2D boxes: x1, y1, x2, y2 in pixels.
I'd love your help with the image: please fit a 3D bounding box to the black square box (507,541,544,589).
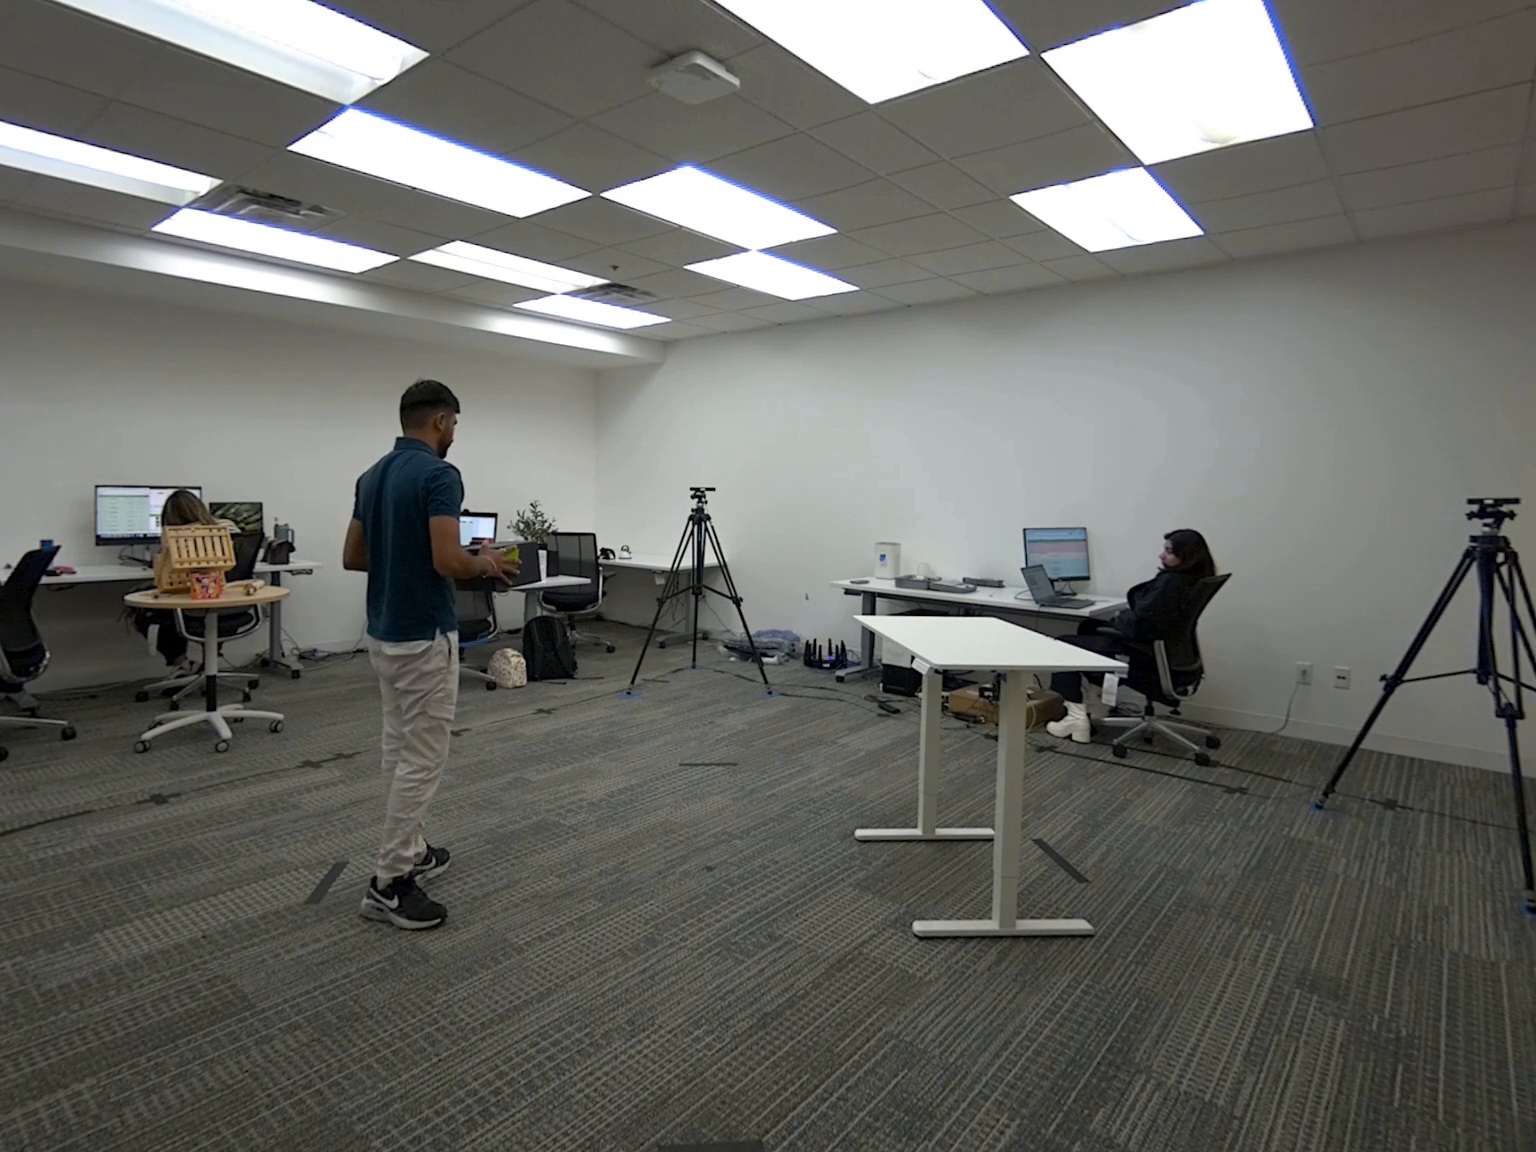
[{"bbox_3d":[-1.024,-0.043,3.142,0.224,0.155,0.222,1,7,37],"label":"black square box"}]
